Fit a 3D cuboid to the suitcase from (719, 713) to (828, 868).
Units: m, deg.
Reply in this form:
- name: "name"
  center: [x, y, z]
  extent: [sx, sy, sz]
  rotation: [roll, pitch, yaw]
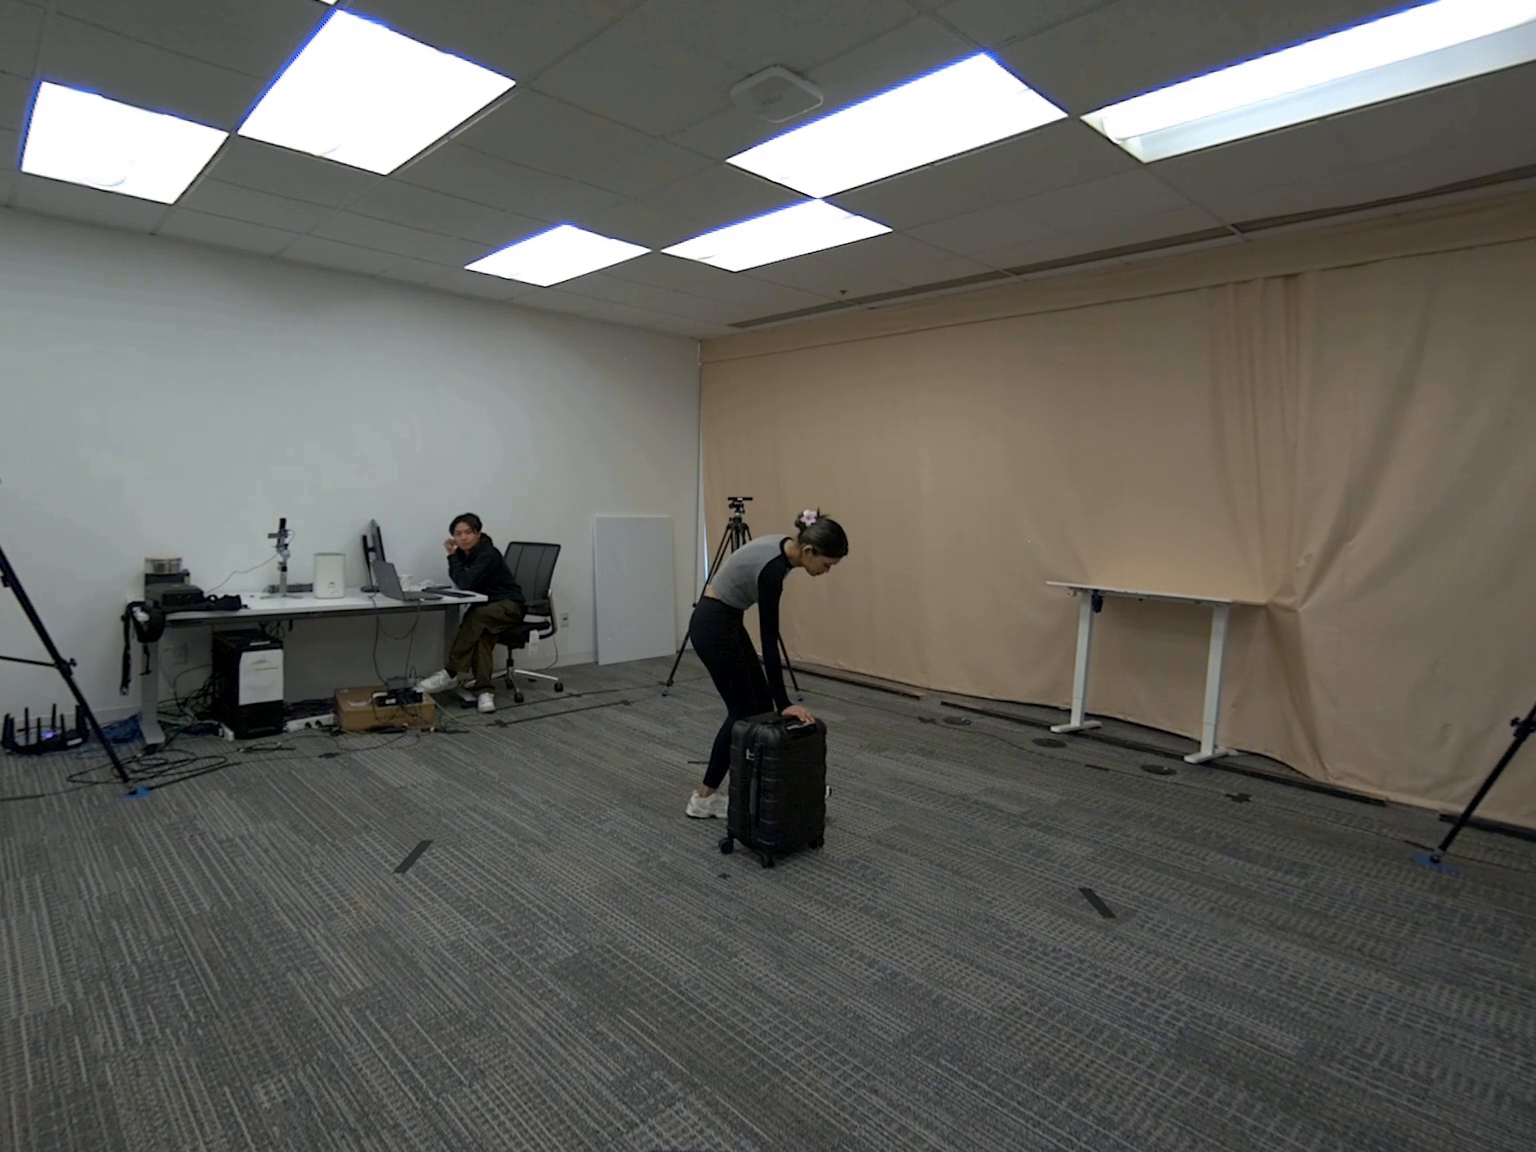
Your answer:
- name: "suitcase"
  center: [0.031, 0.815, 3.327]
  extent: [0.255, 0.547, 0.367]
  rotation: [6, 7, 43]
